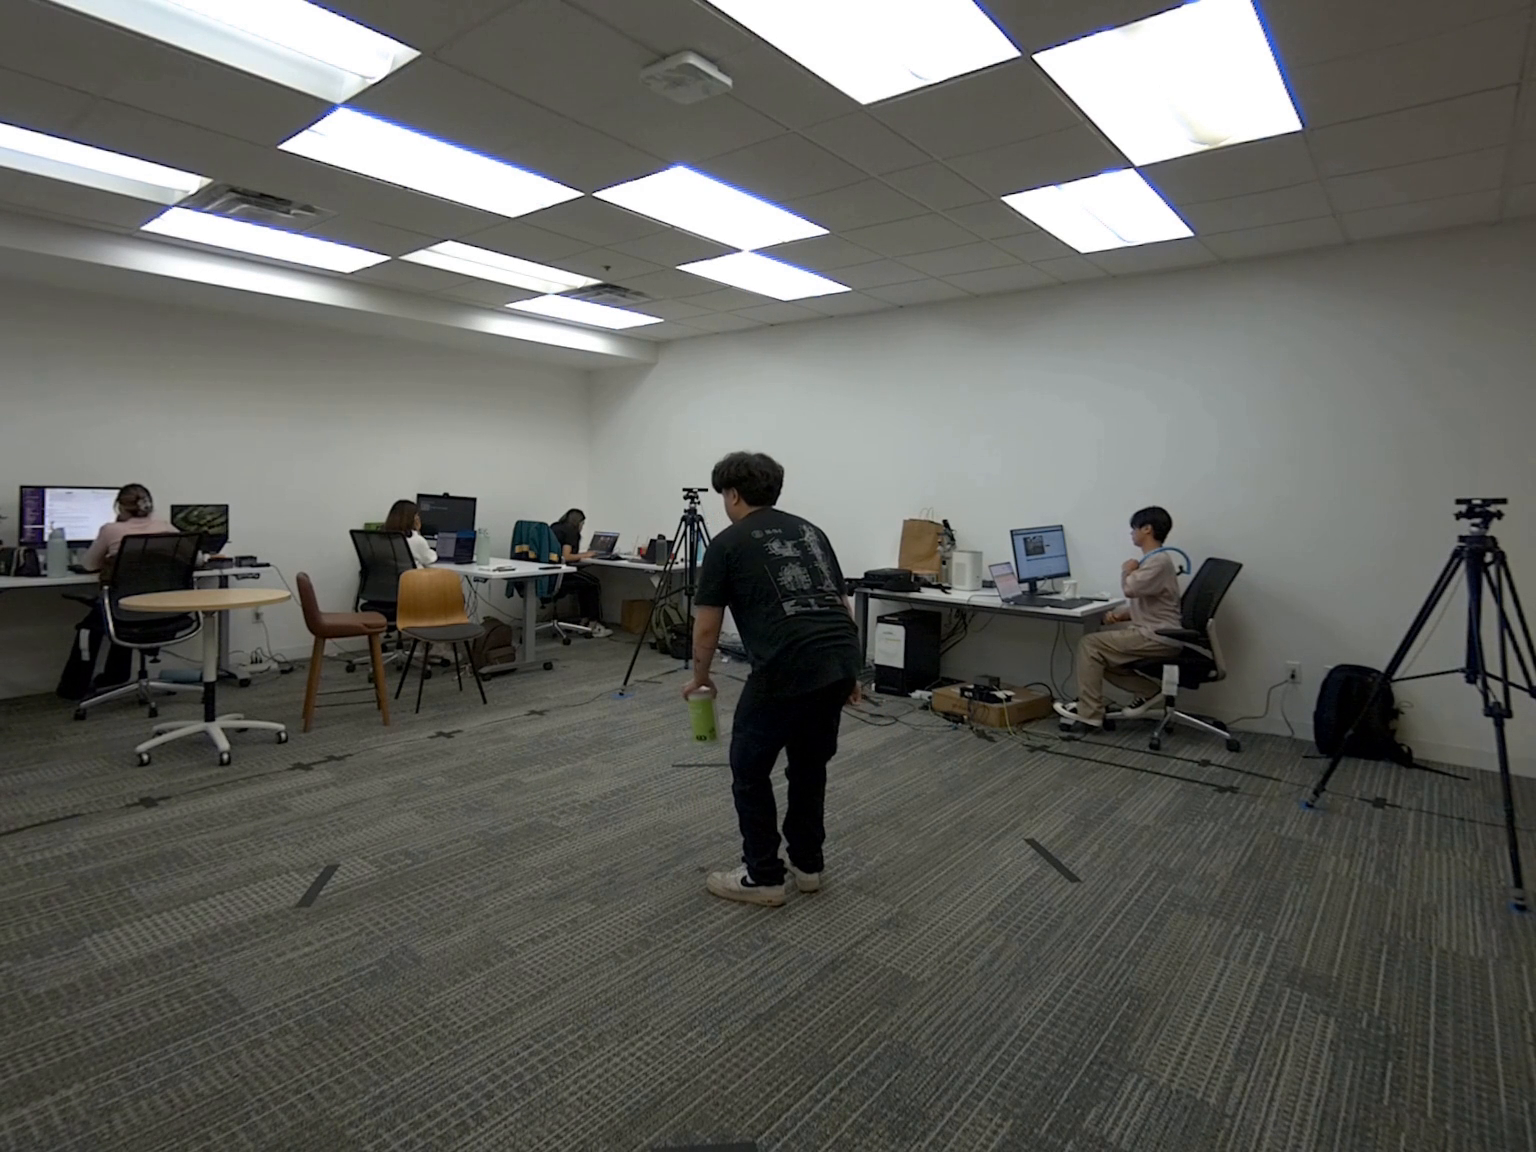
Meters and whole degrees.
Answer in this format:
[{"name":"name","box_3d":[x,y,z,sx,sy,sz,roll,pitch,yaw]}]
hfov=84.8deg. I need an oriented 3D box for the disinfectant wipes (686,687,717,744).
[{"name":"disinfectant wipes","box_3d":[-0.254,0.525,3.204,0.118,0.215,0.119,-6,9,-1]}]
